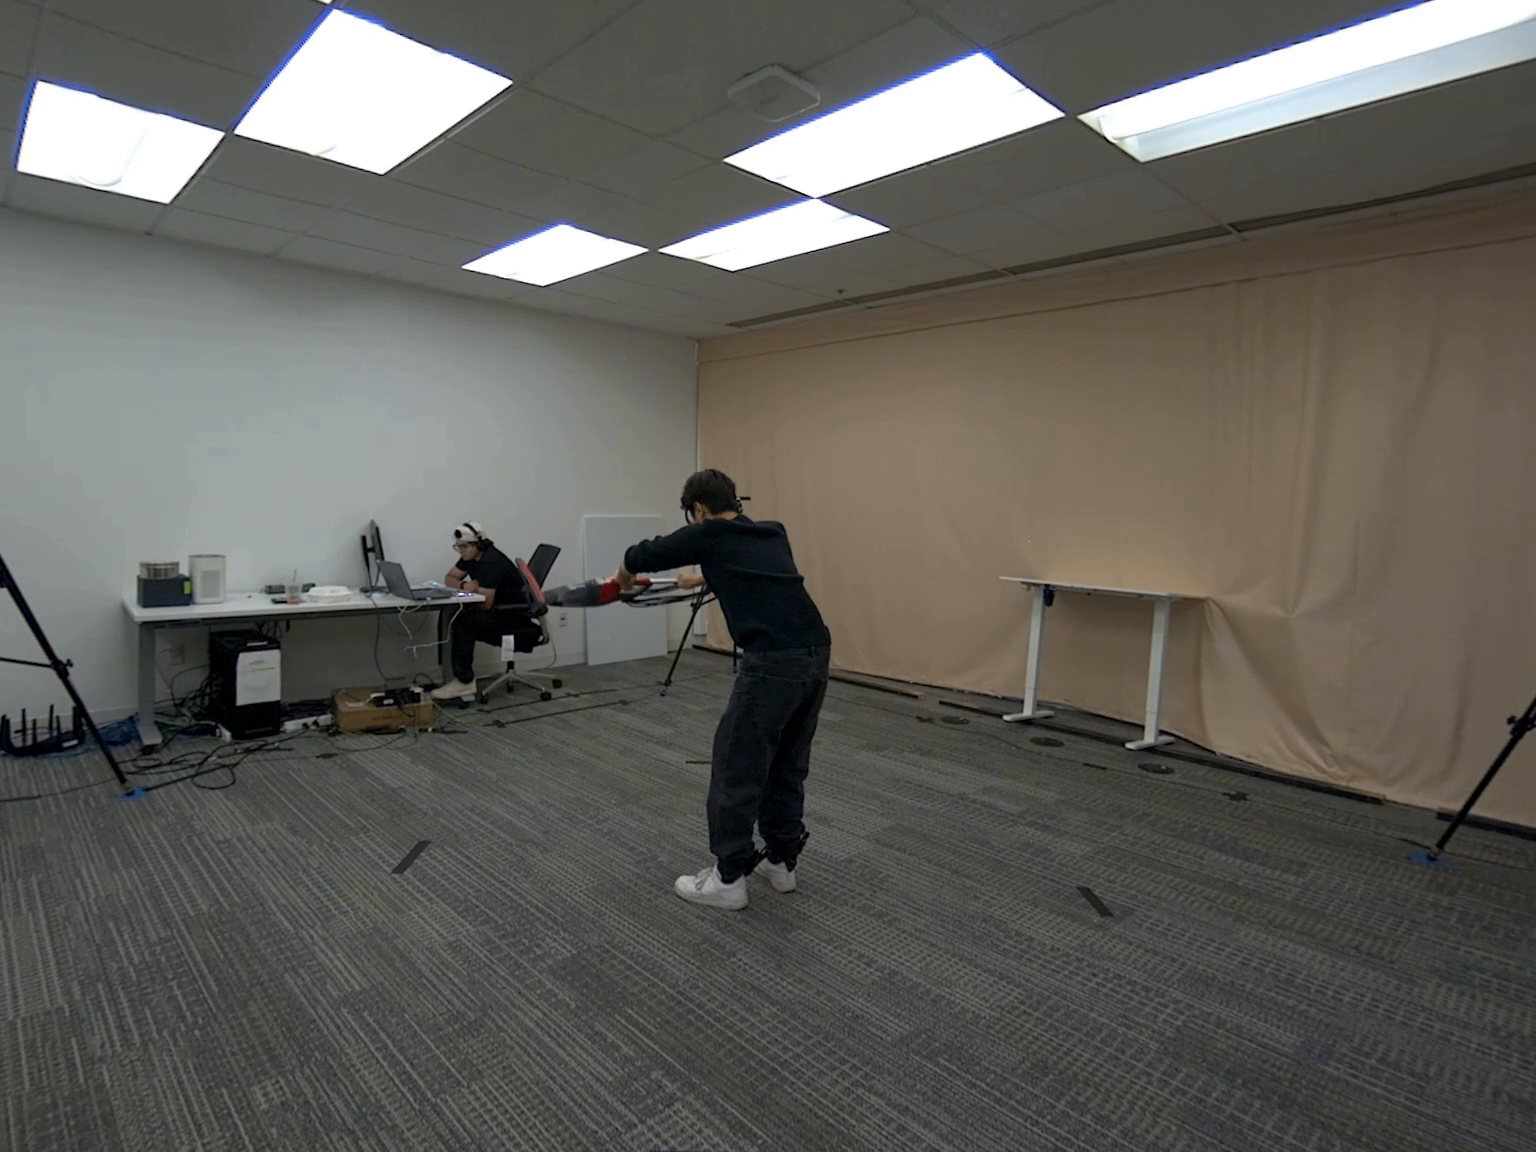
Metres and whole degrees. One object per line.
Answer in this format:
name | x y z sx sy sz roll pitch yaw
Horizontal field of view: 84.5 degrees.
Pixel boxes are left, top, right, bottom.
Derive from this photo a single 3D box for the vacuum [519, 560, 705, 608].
vacuum | -0.492 0.060 3.418 1.024 0.143 0.260 0 41 -42
